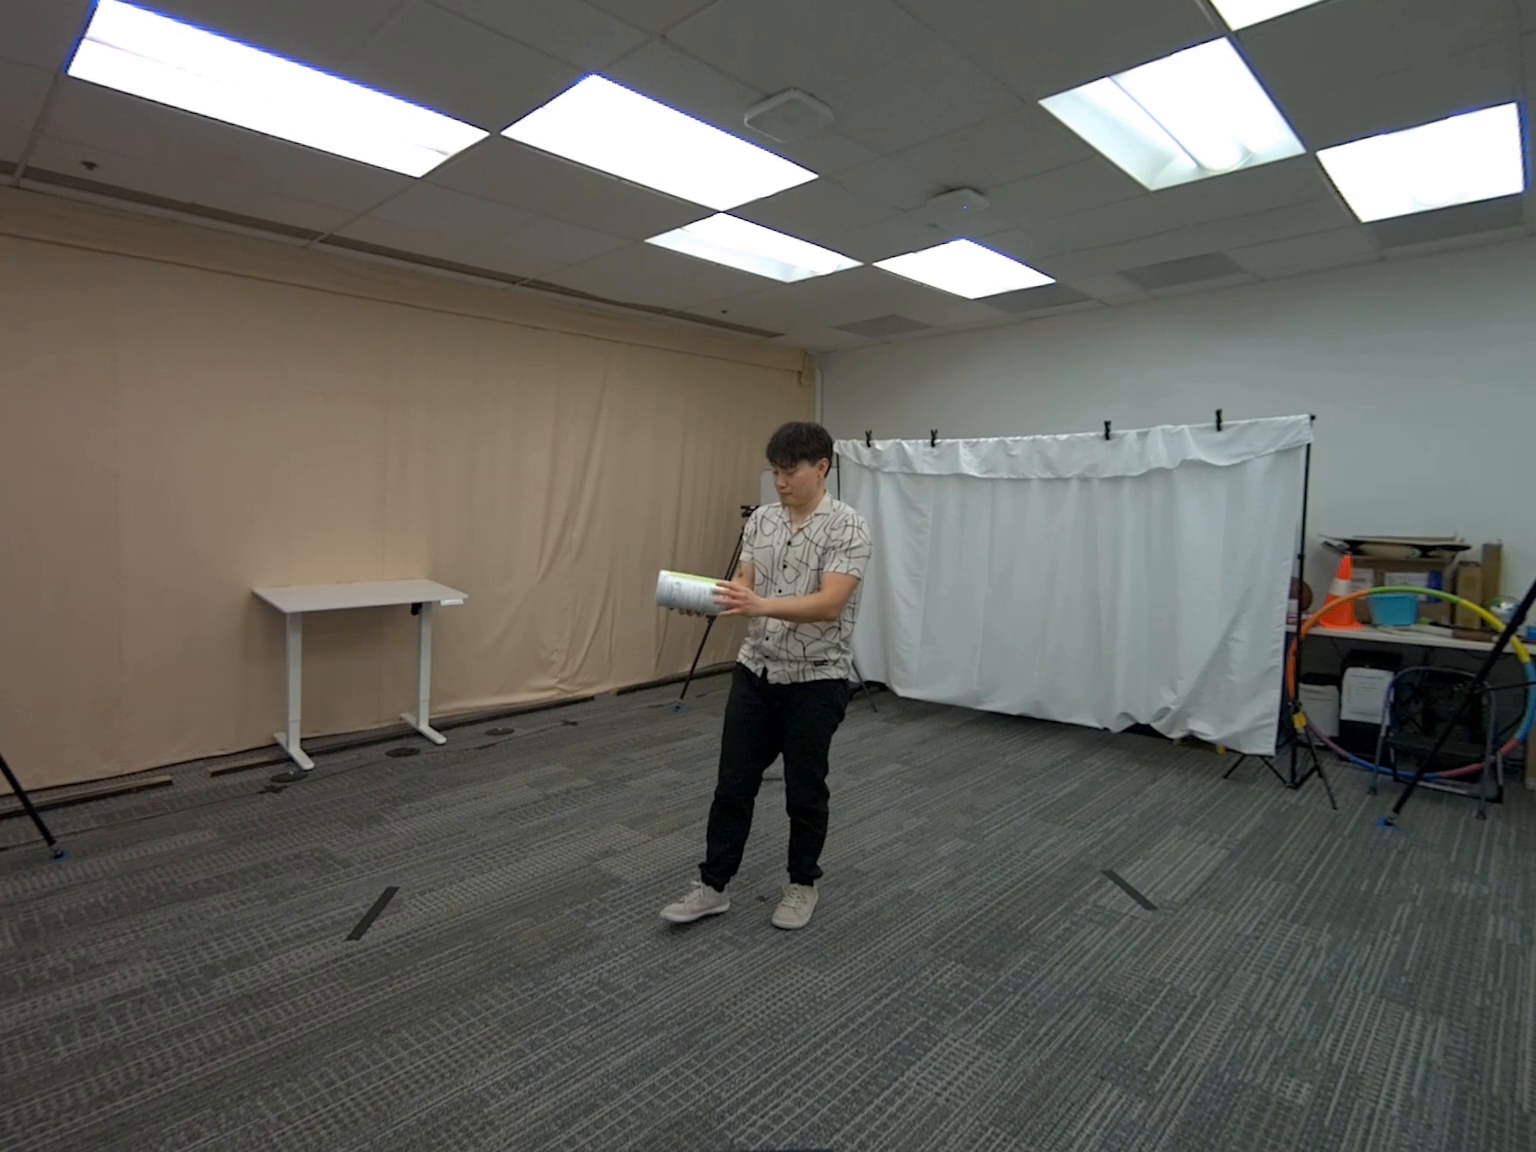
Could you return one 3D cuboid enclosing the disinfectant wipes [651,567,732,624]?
[{"bbox_3d":[-0.222,0.054,2.508,0.218,0.117,0.117,10,4,3],"label":"disinfectant wipes"}]
